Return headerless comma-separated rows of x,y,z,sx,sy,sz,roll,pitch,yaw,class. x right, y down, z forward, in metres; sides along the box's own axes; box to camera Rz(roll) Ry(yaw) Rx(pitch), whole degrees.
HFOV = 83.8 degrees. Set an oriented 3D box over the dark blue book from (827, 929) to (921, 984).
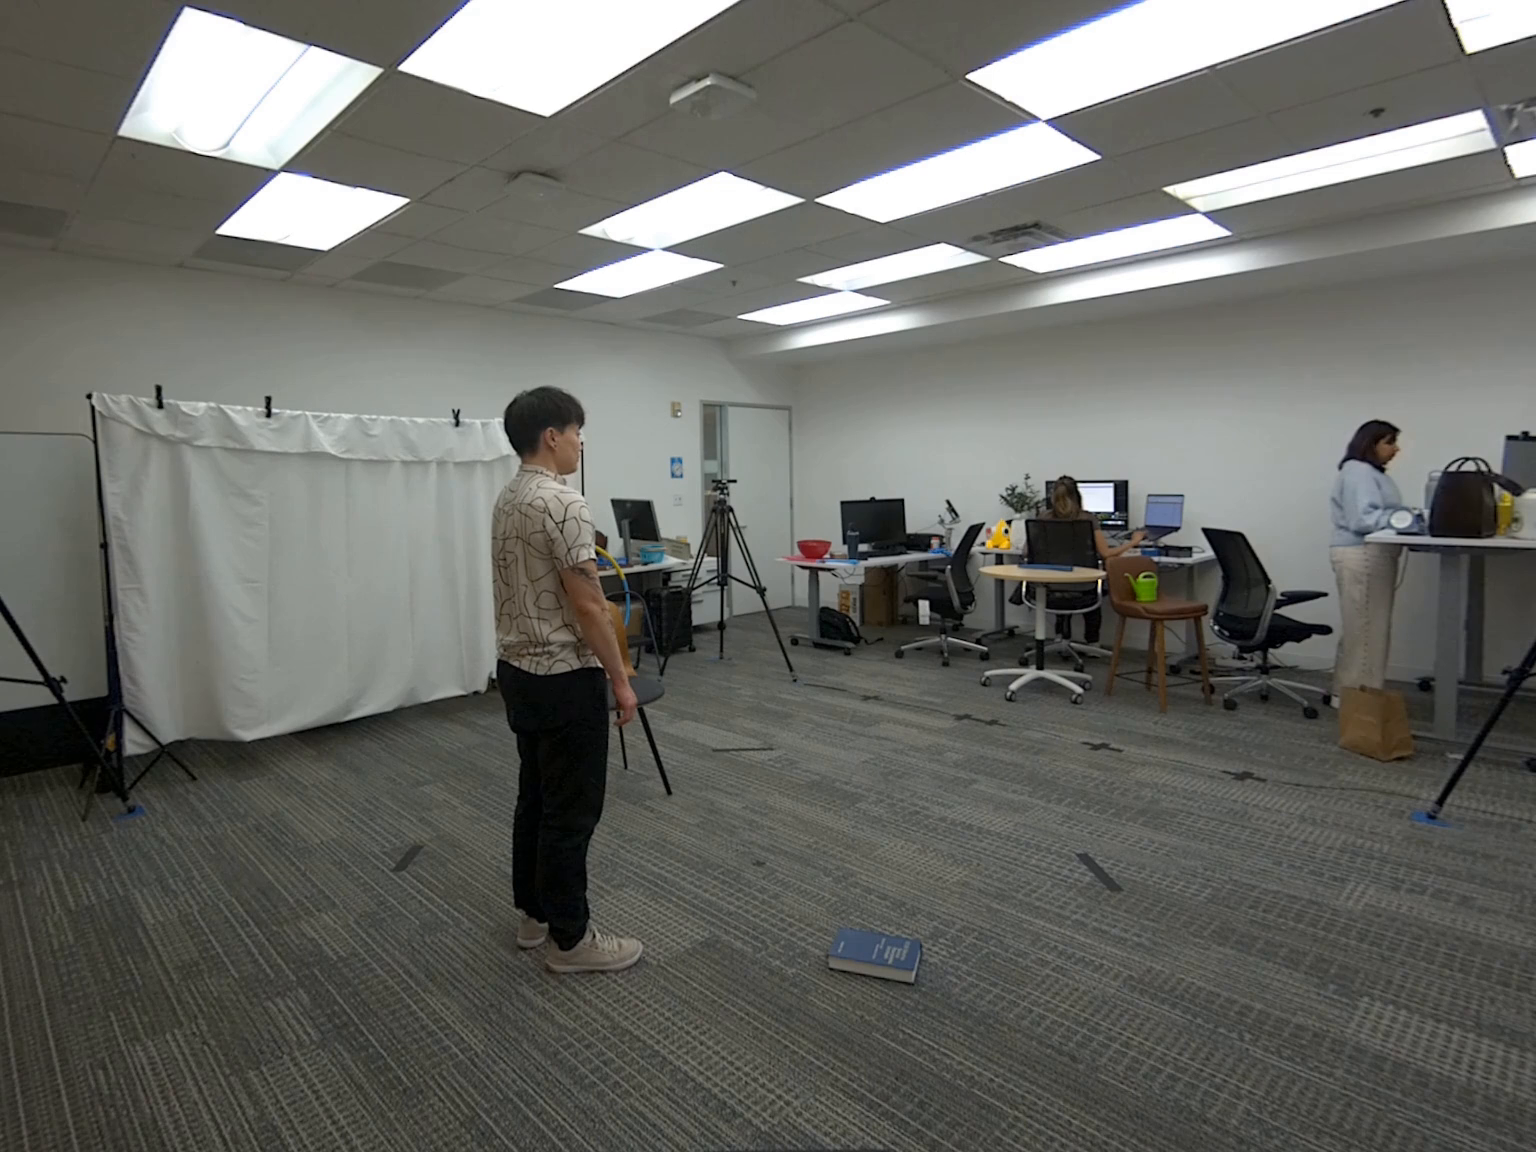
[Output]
0.311,1.084,2.461,0.250,0.045,0.161,2,8,19,dark blue book
